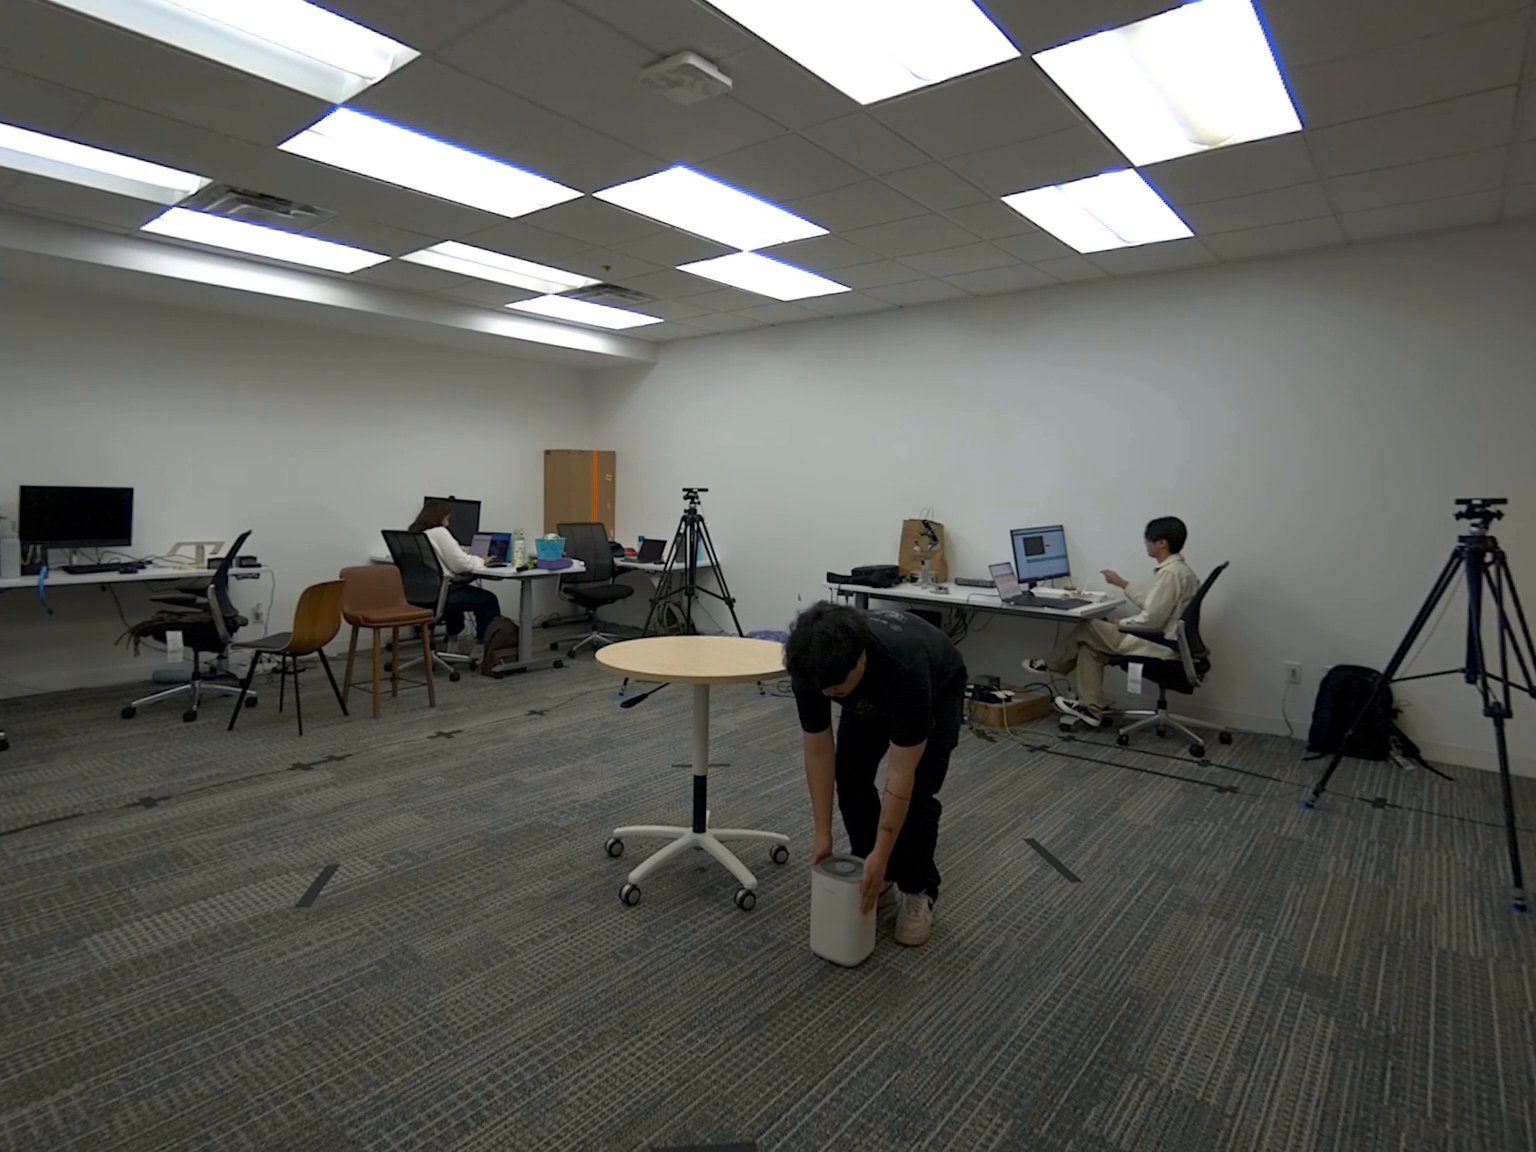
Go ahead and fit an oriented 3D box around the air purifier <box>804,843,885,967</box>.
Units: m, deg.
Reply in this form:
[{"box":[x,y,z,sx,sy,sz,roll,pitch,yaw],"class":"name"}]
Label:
[{"box":[0.233,0.992,2.560,0.177,0.265,0.166,4,3,37],"class":"air purifier"}]
